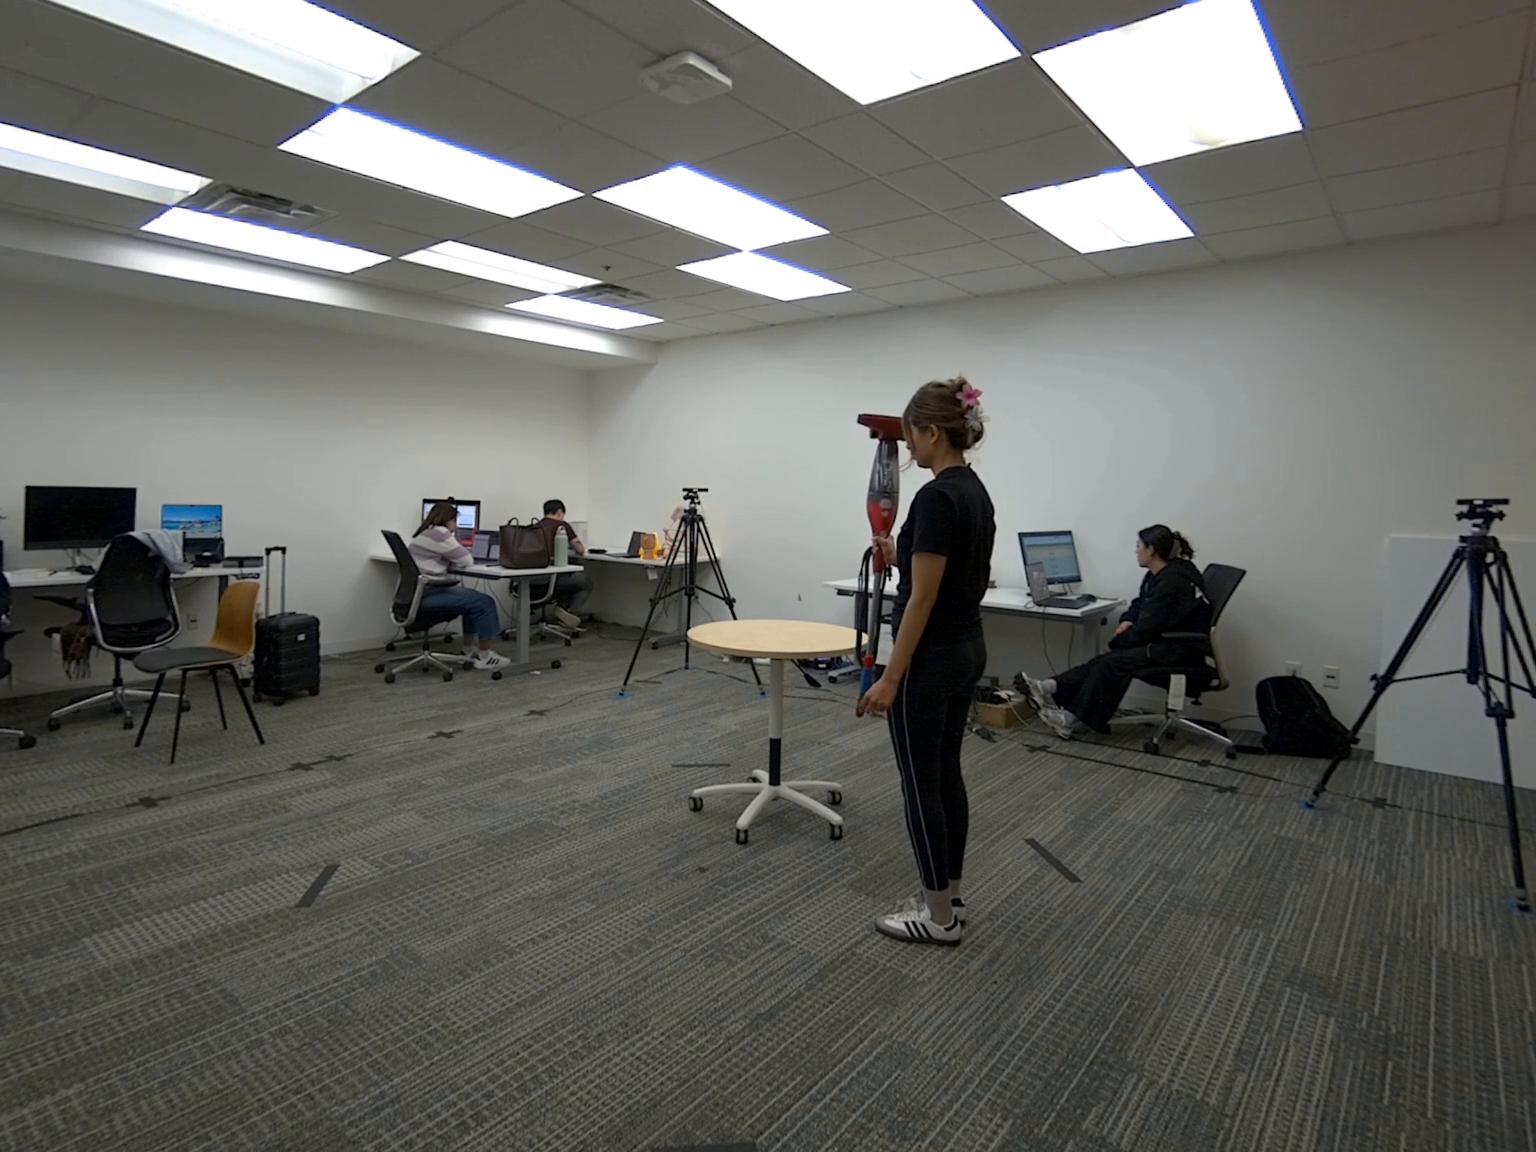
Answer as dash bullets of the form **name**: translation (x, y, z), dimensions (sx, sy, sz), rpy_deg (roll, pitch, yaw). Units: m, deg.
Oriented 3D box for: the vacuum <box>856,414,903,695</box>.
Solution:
- **vacuum**: translation (0.380, -0.016, 3.000), dimensions (0.252, 1.043, 0.145), rpy_deg (5, 7, -1)
